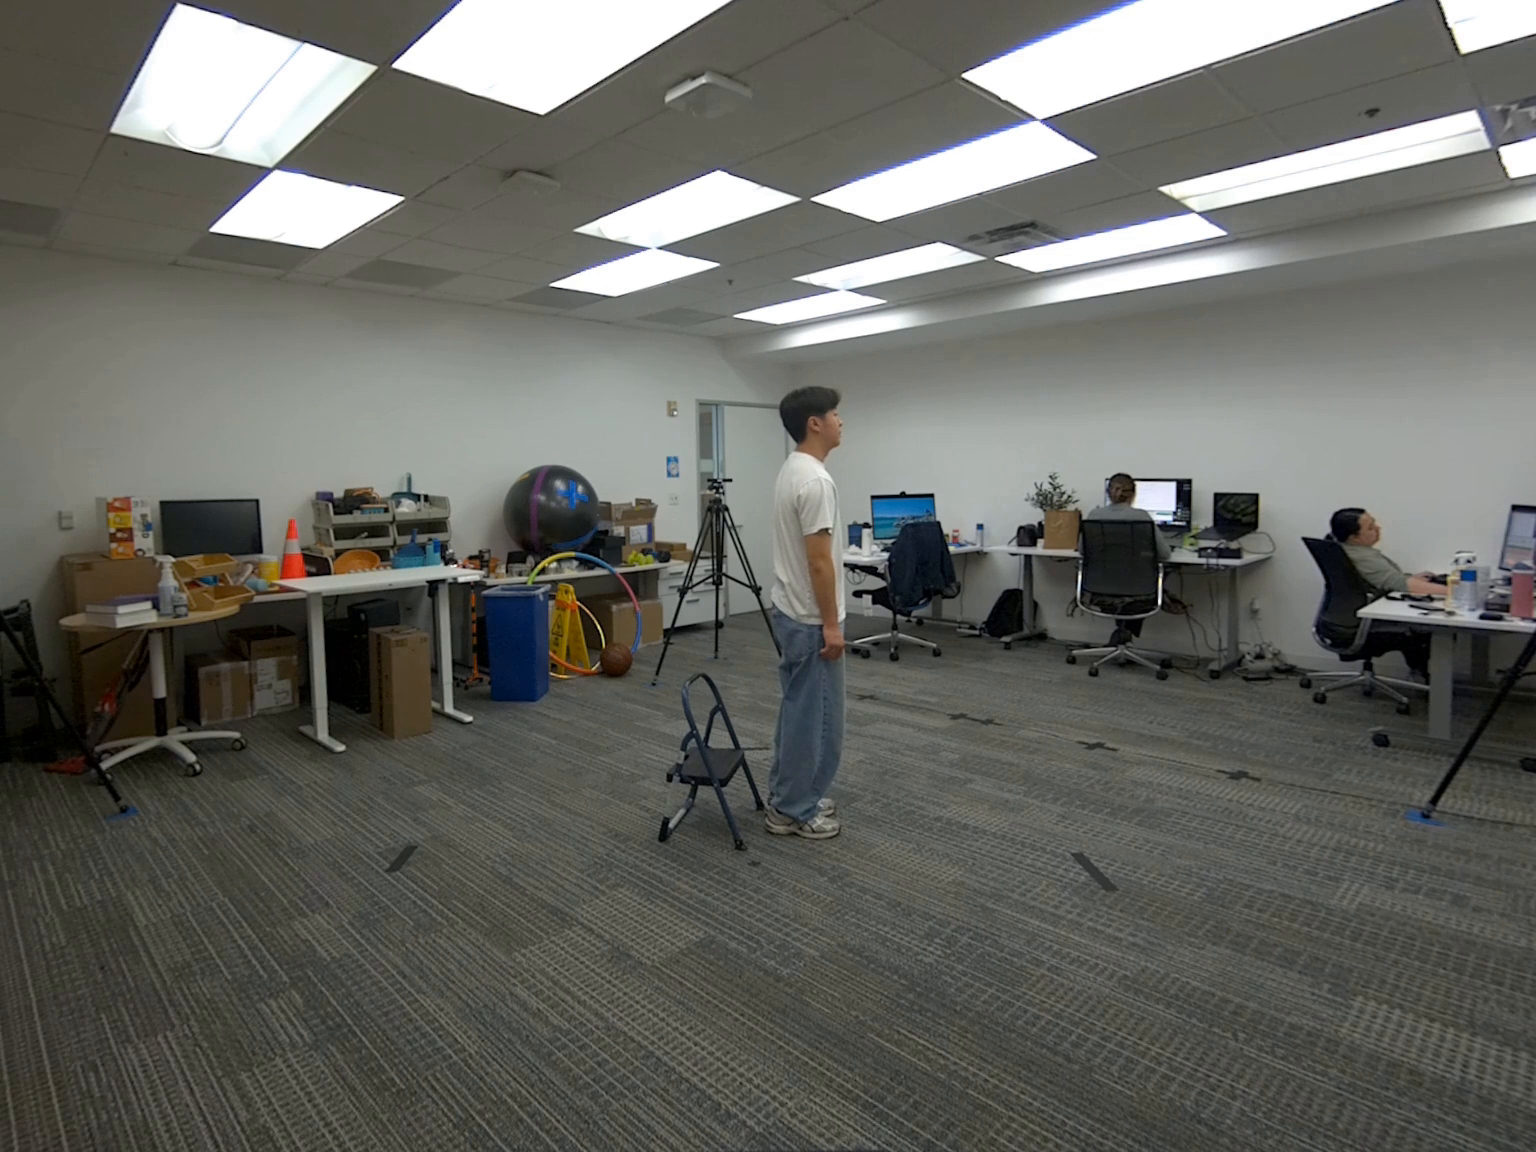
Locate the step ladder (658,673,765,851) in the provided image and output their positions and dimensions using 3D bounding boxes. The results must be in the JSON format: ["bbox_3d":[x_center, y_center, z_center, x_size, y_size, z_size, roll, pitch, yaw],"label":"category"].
[{"bbox_3d":[-0.220,0.708,3.445,0.354,0.604,0.427,0,4,12],"label":"step ladder"}]
